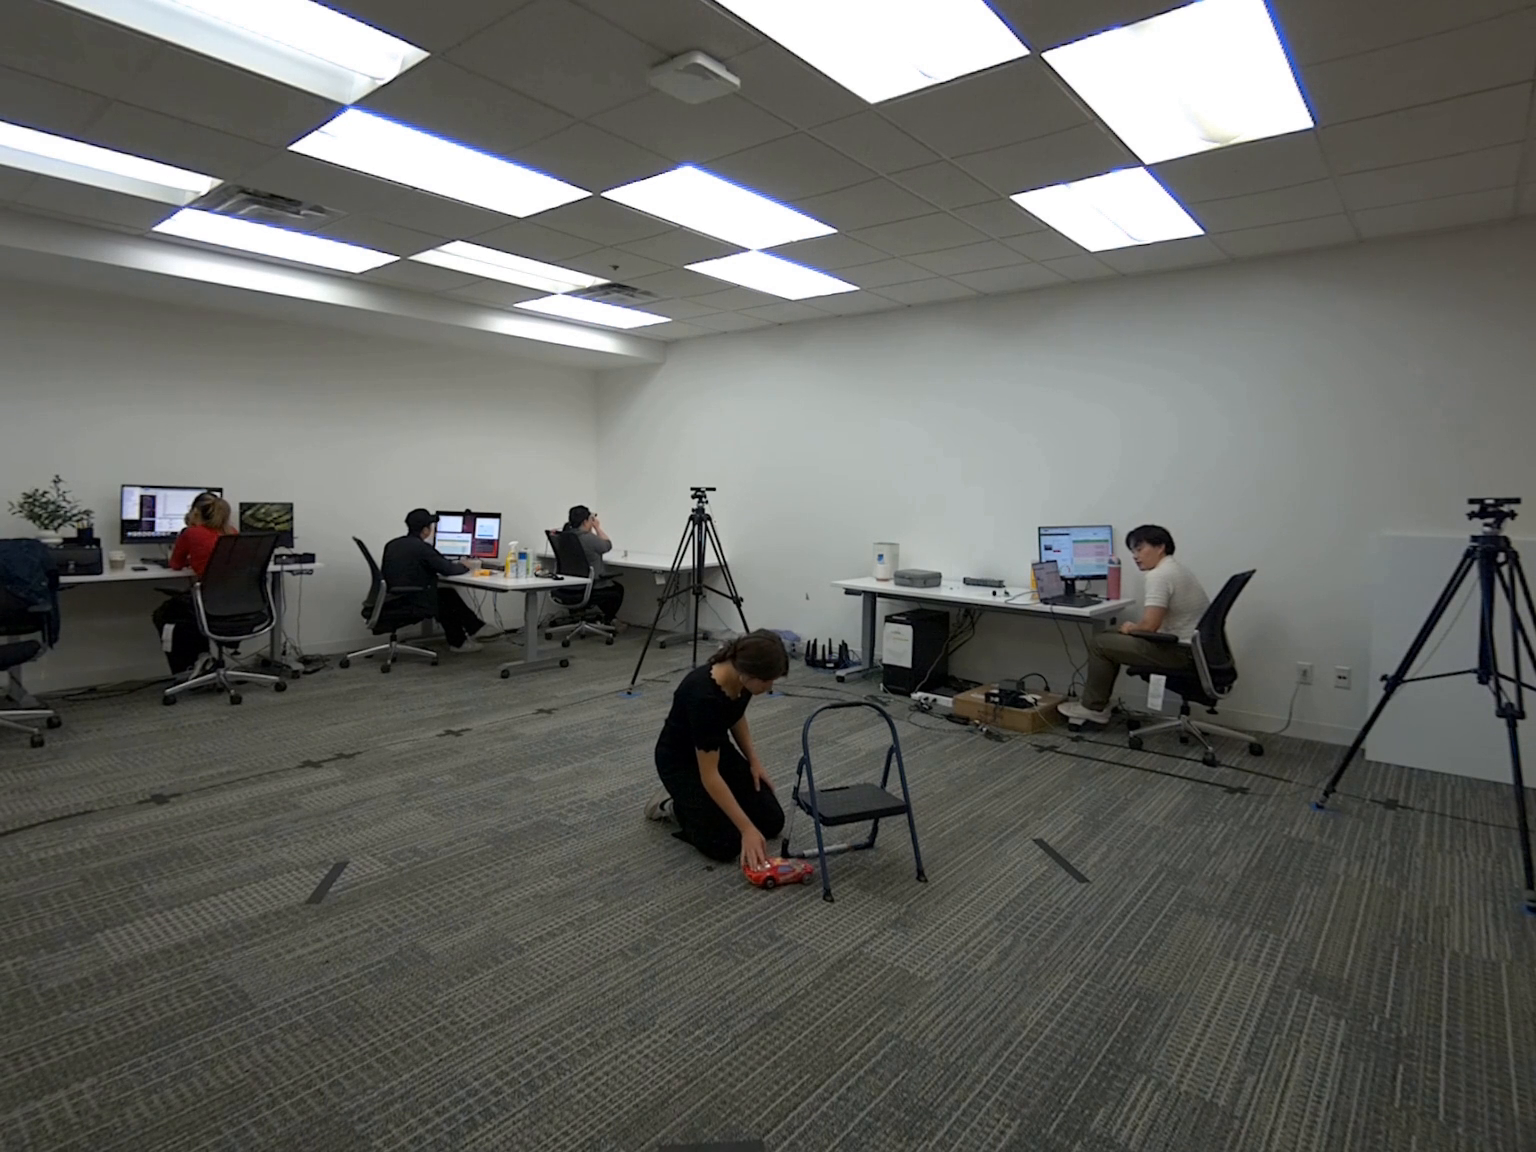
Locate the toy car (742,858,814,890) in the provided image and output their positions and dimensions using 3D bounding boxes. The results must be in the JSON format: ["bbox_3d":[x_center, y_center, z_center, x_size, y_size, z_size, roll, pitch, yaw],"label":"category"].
[{"bbox_3d":[0.025,1.054,3.020,0.249,0.083,0.133,10,3,-20],"label":"toy car"}]
